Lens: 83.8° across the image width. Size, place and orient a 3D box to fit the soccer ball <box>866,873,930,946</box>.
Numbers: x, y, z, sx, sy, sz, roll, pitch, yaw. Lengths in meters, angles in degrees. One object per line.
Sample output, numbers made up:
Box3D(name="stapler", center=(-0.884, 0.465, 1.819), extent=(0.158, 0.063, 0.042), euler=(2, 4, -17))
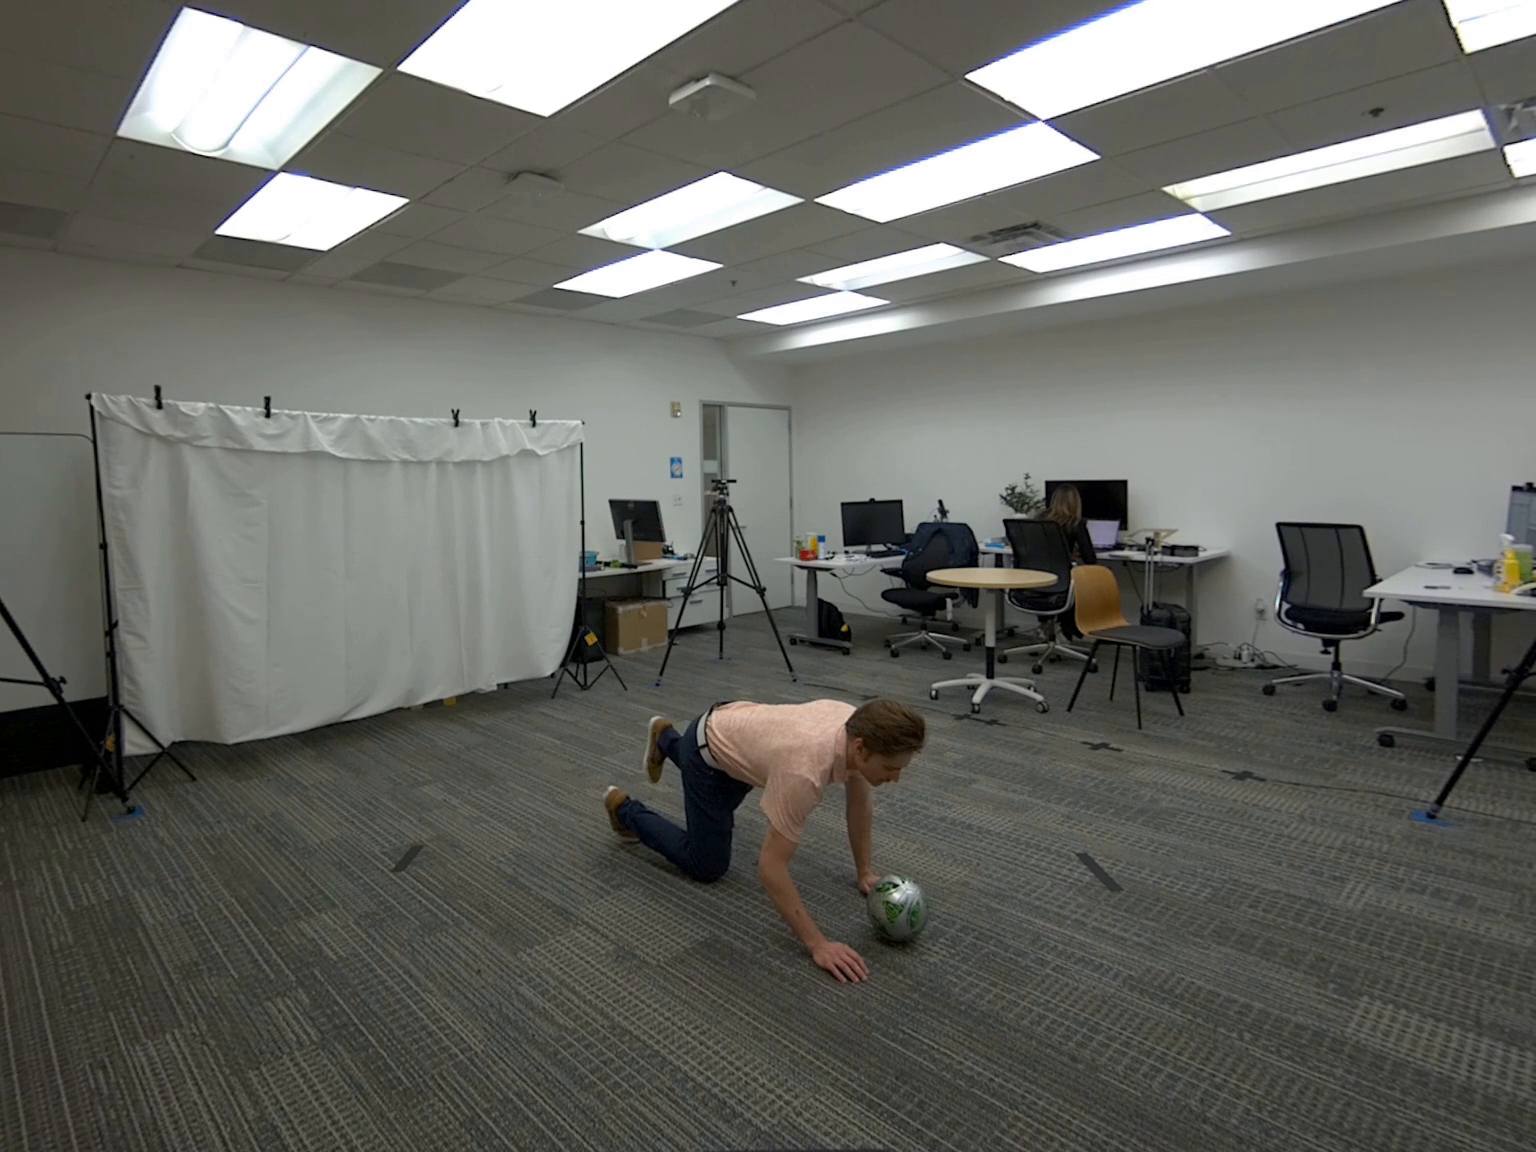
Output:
Box3D(name="soccer ball", center=(0.396, 1.007, 2.580), extent=(0.187, 0.187, 0.188), euler=(-1, 5, -2))
